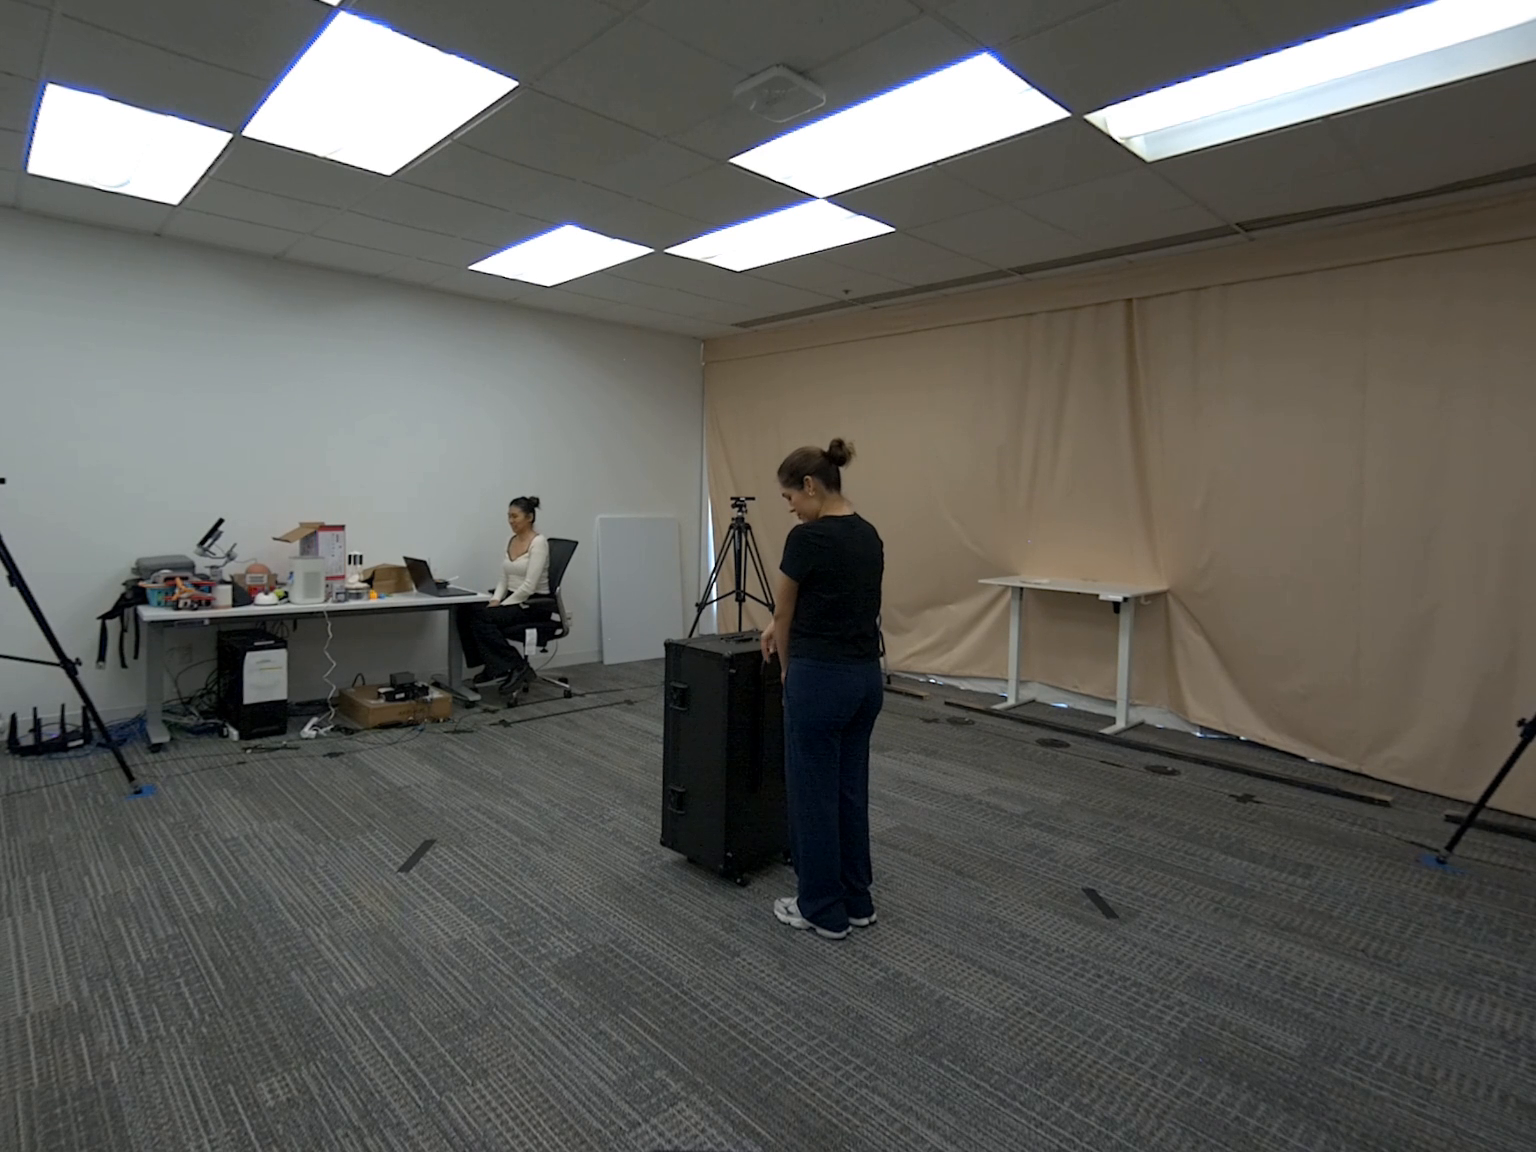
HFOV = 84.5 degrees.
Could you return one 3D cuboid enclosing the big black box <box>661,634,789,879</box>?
[{"bbox_3d":[-0.104,0.619,3.196,0.509,0.860,0.406,-1,4,-45],"label":"big black box"}]
